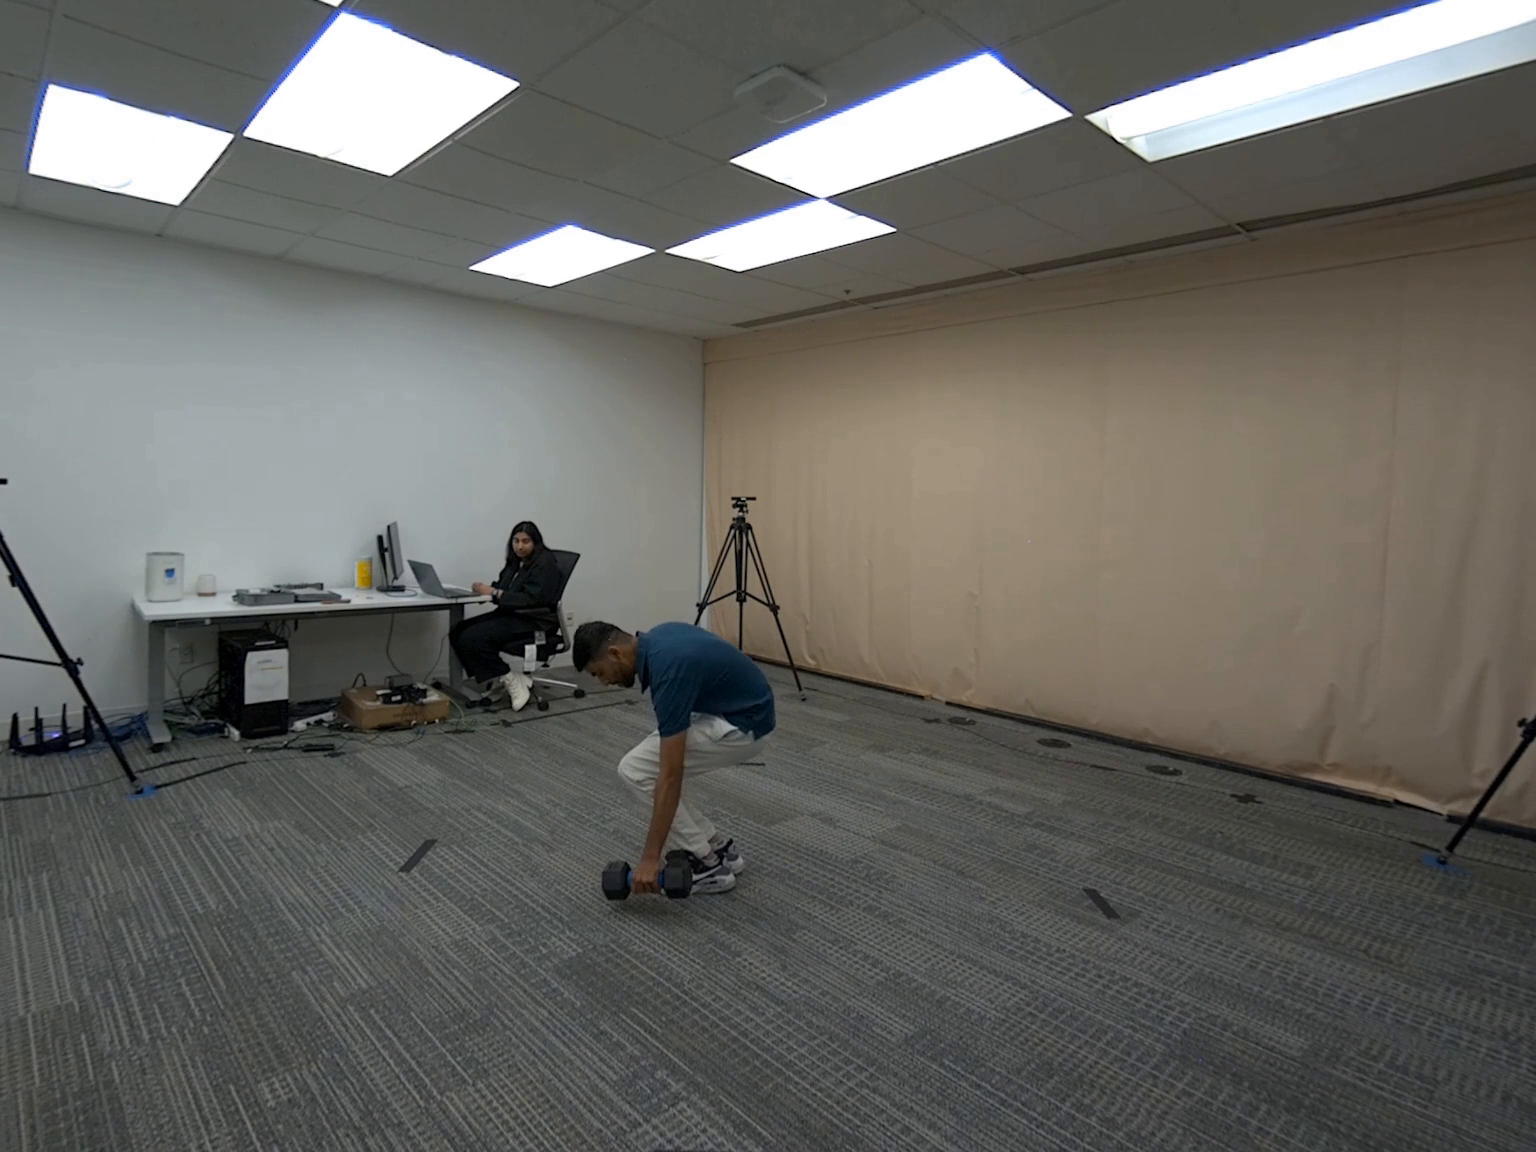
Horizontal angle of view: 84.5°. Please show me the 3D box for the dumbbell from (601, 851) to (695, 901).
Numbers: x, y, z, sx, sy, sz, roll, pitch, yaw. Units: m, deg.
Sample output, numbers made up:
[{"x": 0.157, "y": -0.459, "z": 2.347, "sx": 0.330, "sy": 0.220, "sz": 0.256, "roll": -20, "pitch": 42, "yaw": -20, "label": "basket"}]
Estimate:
[{"x": -0.415, "y": 1.001, "z": 2.810, "sx": 0.296, "sy": 0.125, "sz": 0.106, "roll": -5, "pitch": -24, "yaw": 11, "label": "dumbbell"}]
